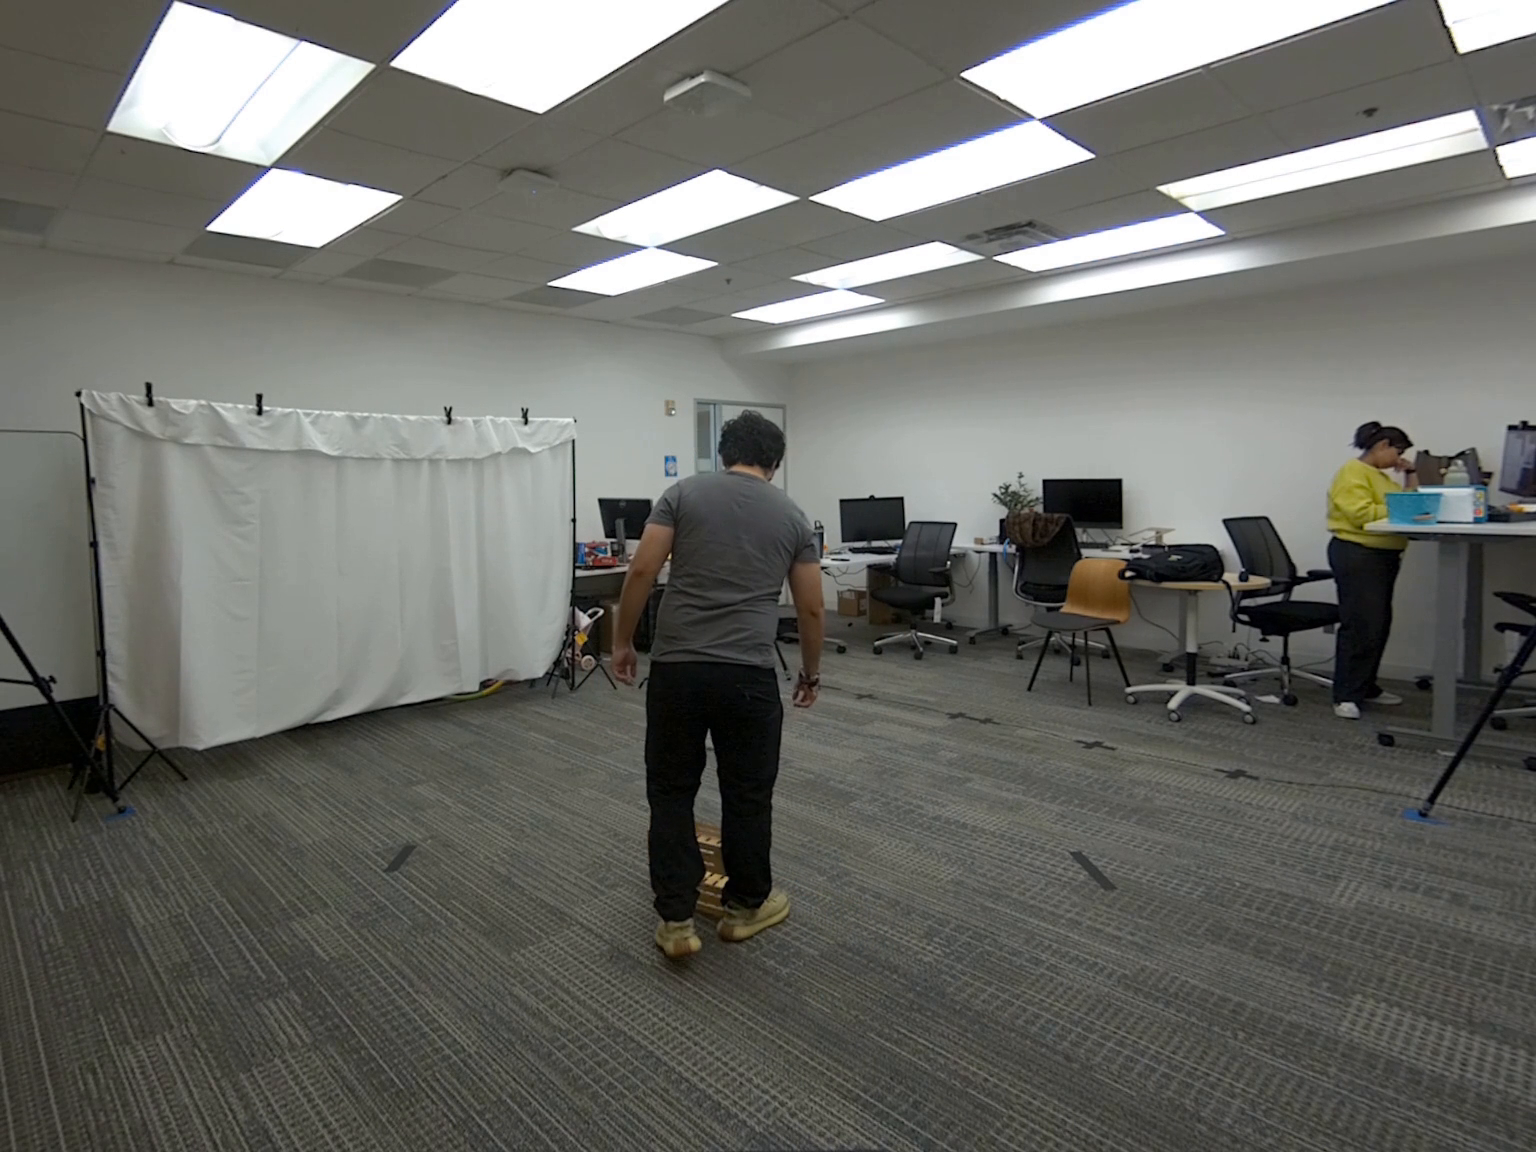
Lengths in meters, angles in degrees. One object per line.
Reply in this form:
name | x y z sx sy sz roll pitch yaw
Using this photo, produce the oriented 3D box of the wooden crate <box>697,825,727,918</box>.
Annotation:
wooden crate | -0.184 0.943 2.852 0.333 0.272 0.296 2 8 30
